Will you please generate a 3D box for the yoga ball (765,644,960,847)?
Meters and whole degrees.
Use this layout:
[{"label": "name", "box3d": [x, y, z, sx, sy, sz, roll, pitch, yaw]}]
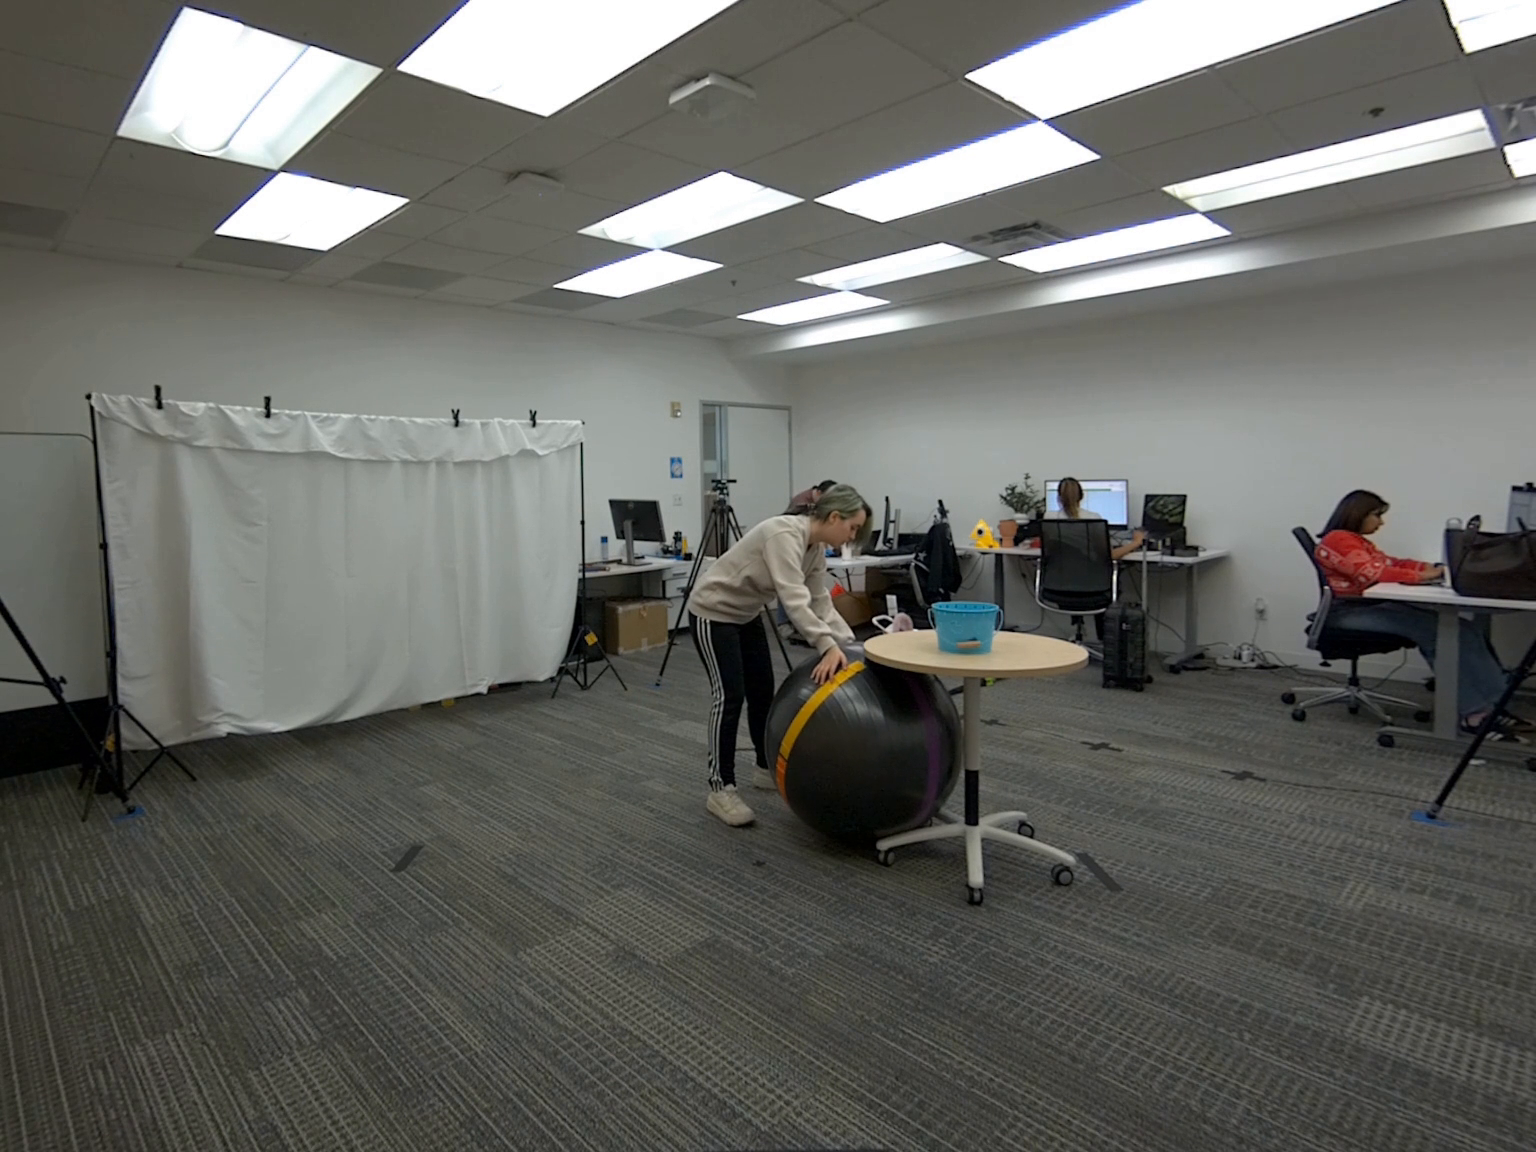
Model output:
[{"label": "yoga ball", "box3d": [0.363, 0.642, 3.305, 0.757, 0.755, 0.762, -1, 5, -2]}]
